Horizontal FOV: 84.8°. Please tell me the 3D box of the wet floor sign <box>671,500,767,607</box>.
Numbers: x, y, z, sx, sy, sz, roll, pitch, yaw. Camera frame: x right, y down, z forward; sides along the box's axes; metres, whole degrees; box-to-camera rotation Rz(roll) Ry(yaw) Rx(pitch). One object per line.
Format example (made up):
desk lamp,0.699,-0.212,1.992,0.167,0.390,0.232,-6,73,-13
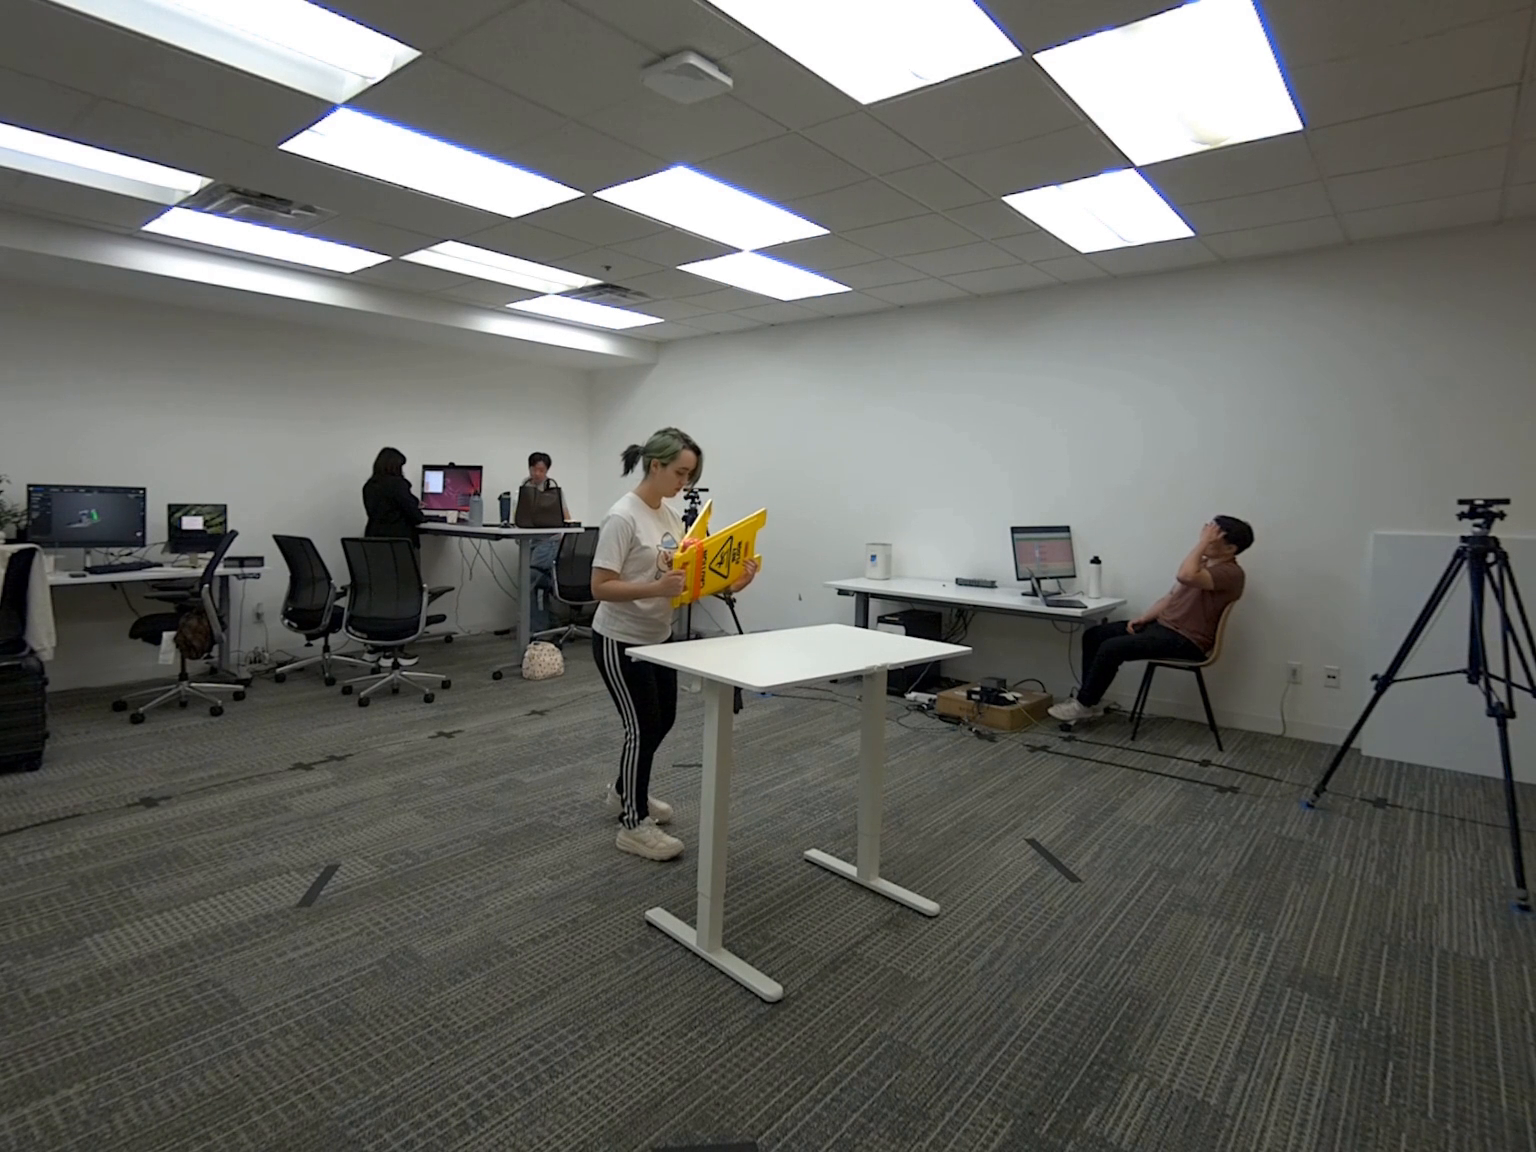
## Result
wet floor sign,-0.251,-0.074,3.309,0.296,0.277,0.644,10,22,15
